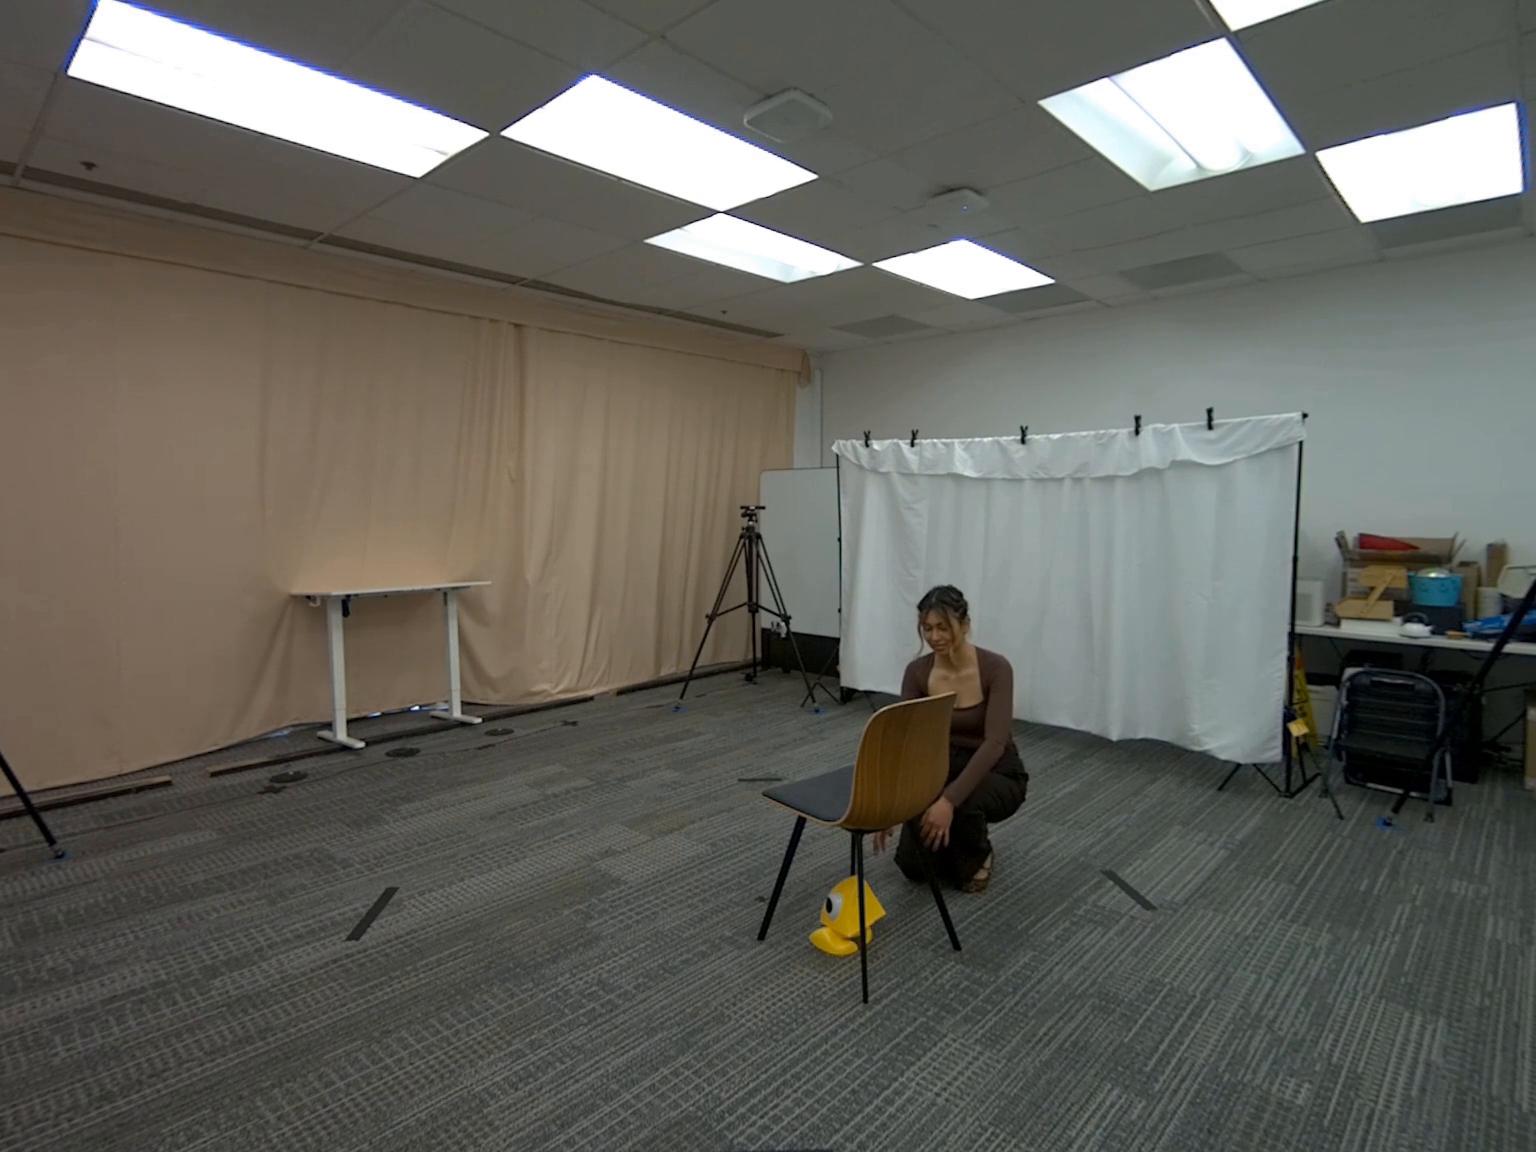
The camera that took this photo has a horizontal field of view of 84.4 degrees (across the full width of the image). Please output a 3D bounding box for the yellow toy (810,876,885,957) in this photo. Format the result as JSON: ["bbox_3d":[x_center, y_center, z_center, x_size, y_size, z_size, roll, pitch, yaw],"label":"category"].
[{"bbox_3d":[0.251,1.055,2.692,0.199,0.230,0.198,4,5,42],"label":"yellow toy"}]
